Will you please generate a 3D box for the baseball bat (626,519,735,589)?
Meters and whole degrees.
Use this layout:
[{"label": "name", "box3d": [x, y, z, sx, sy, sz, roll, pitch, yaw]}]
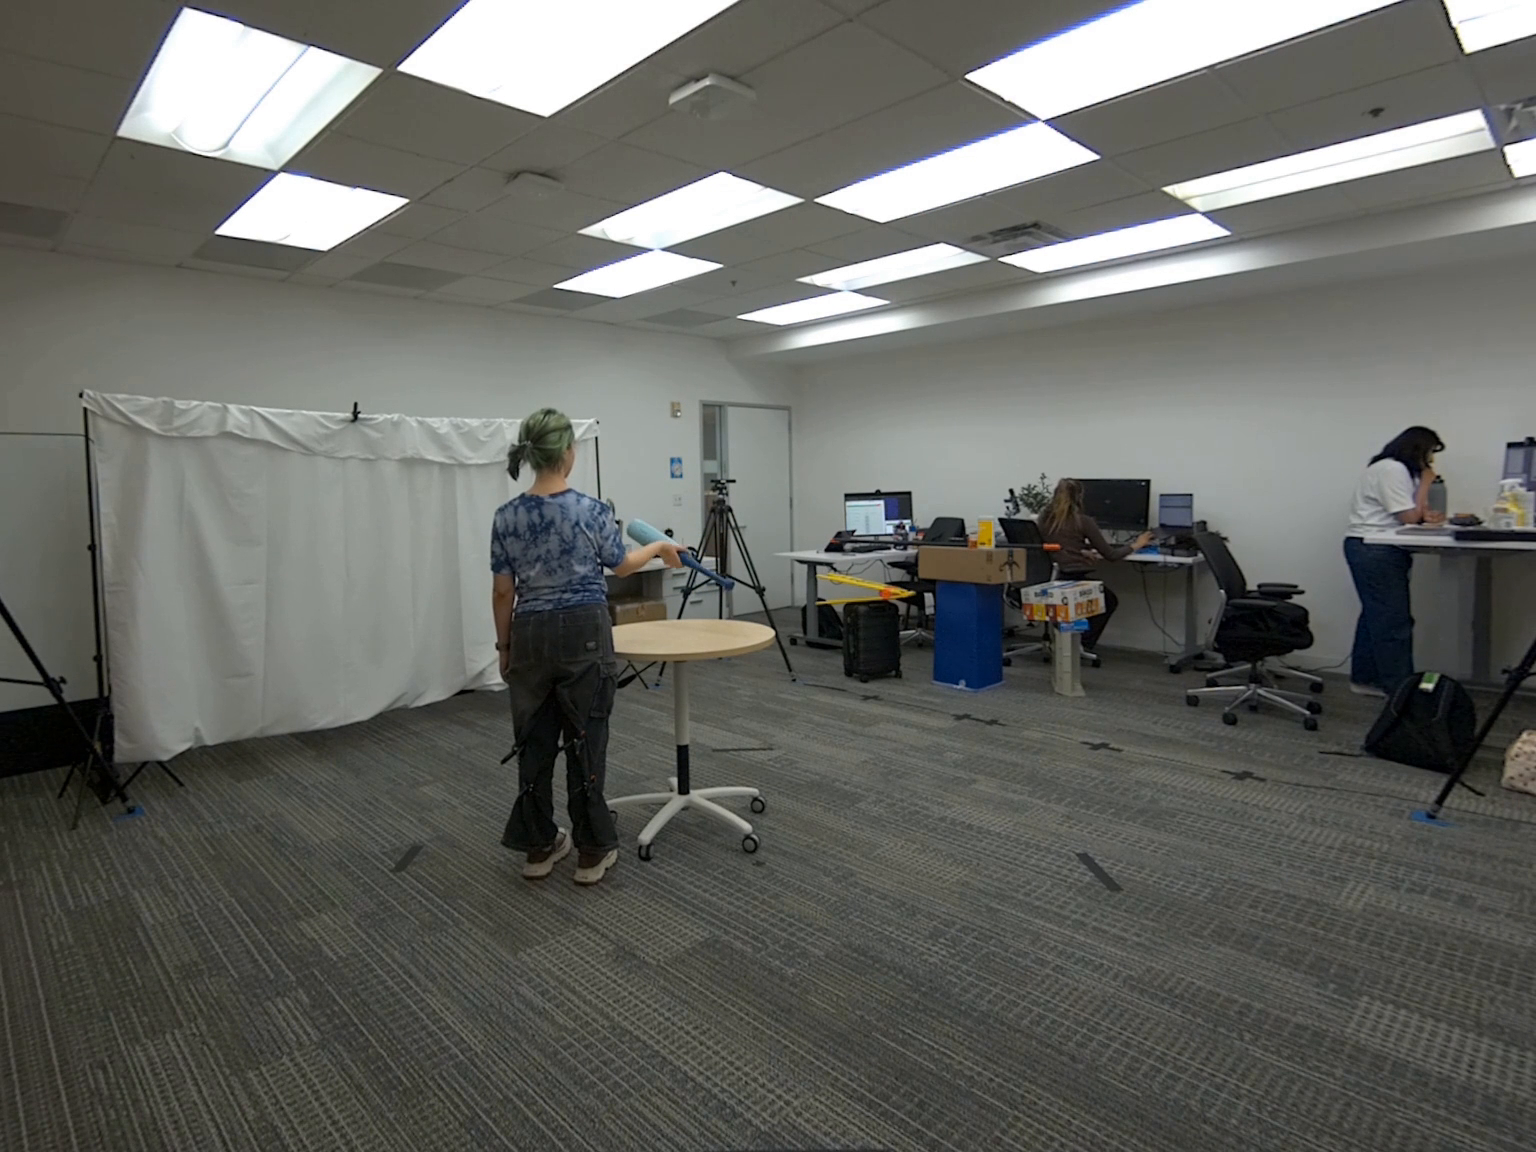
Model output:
[{"label": "baseball bat", "box3d": [-0.358, -0.080, 3.406, 0.561, 0.088, 0.087, 30, 20, 28]}]
